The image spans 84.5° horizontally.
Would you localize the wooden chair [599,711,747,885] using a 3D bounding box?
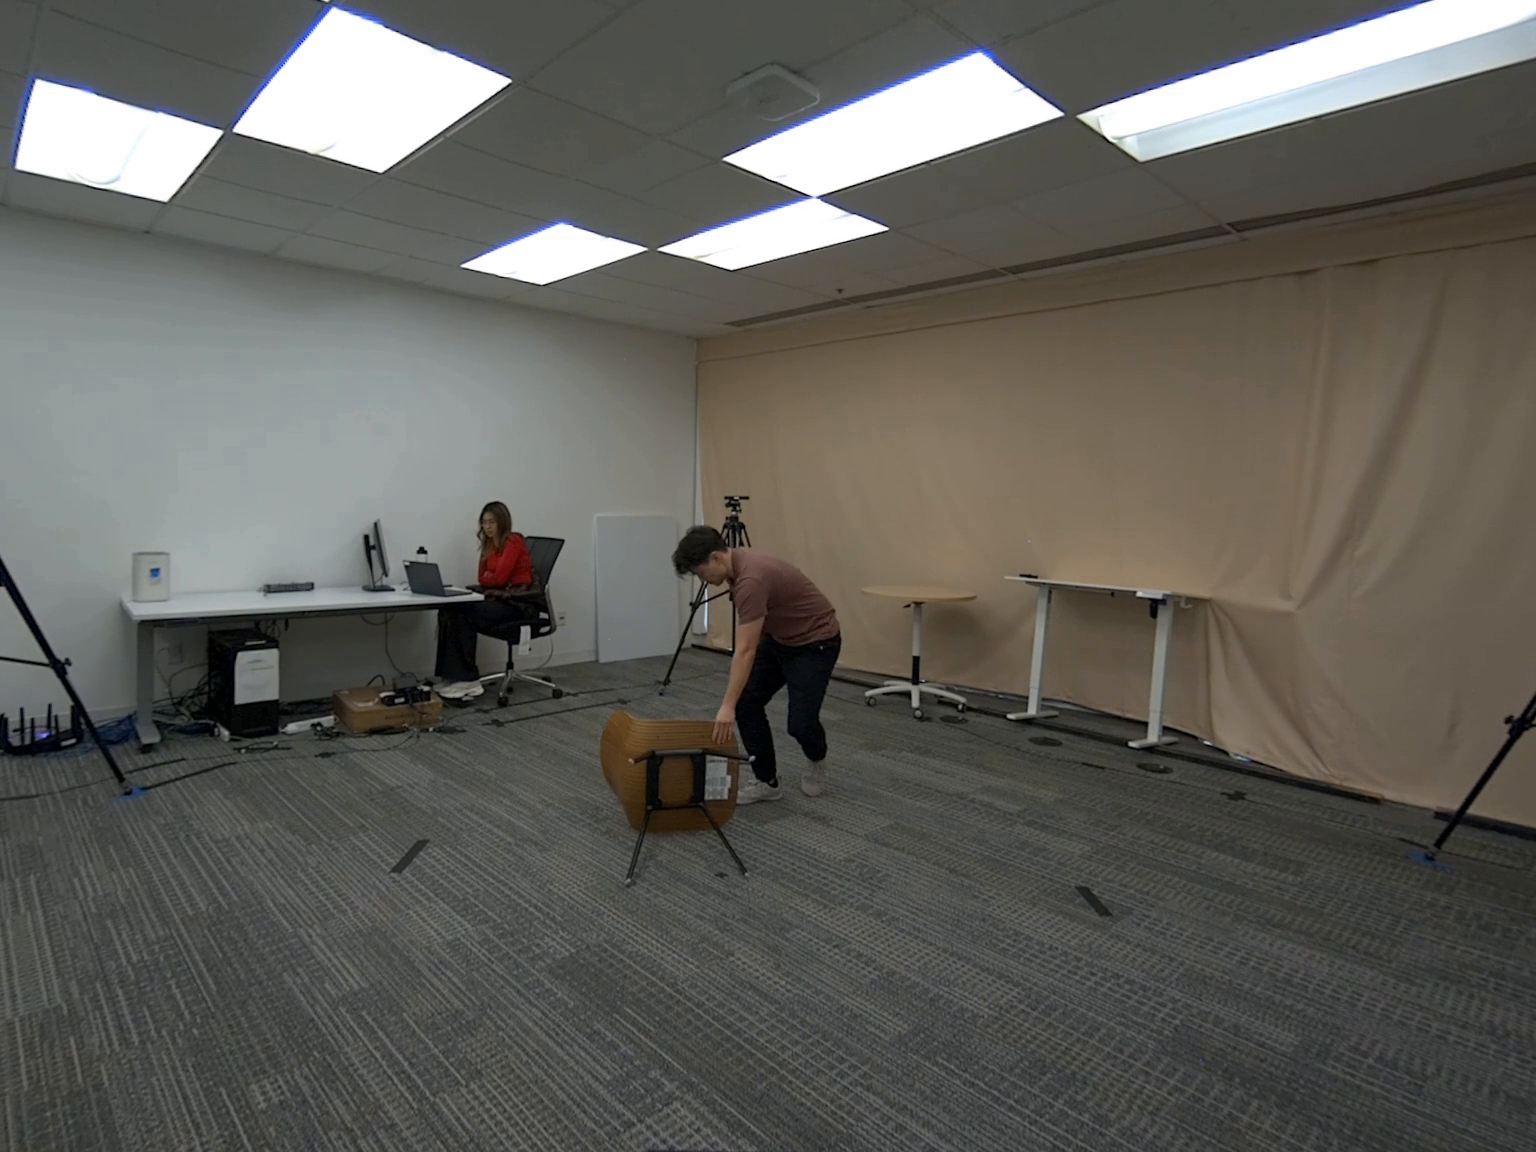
[{"bbox_3d":[-0.375,0.837,3.442,0.516,0.477,0.892,1,5,-18],"label":"wooden chair"}]
